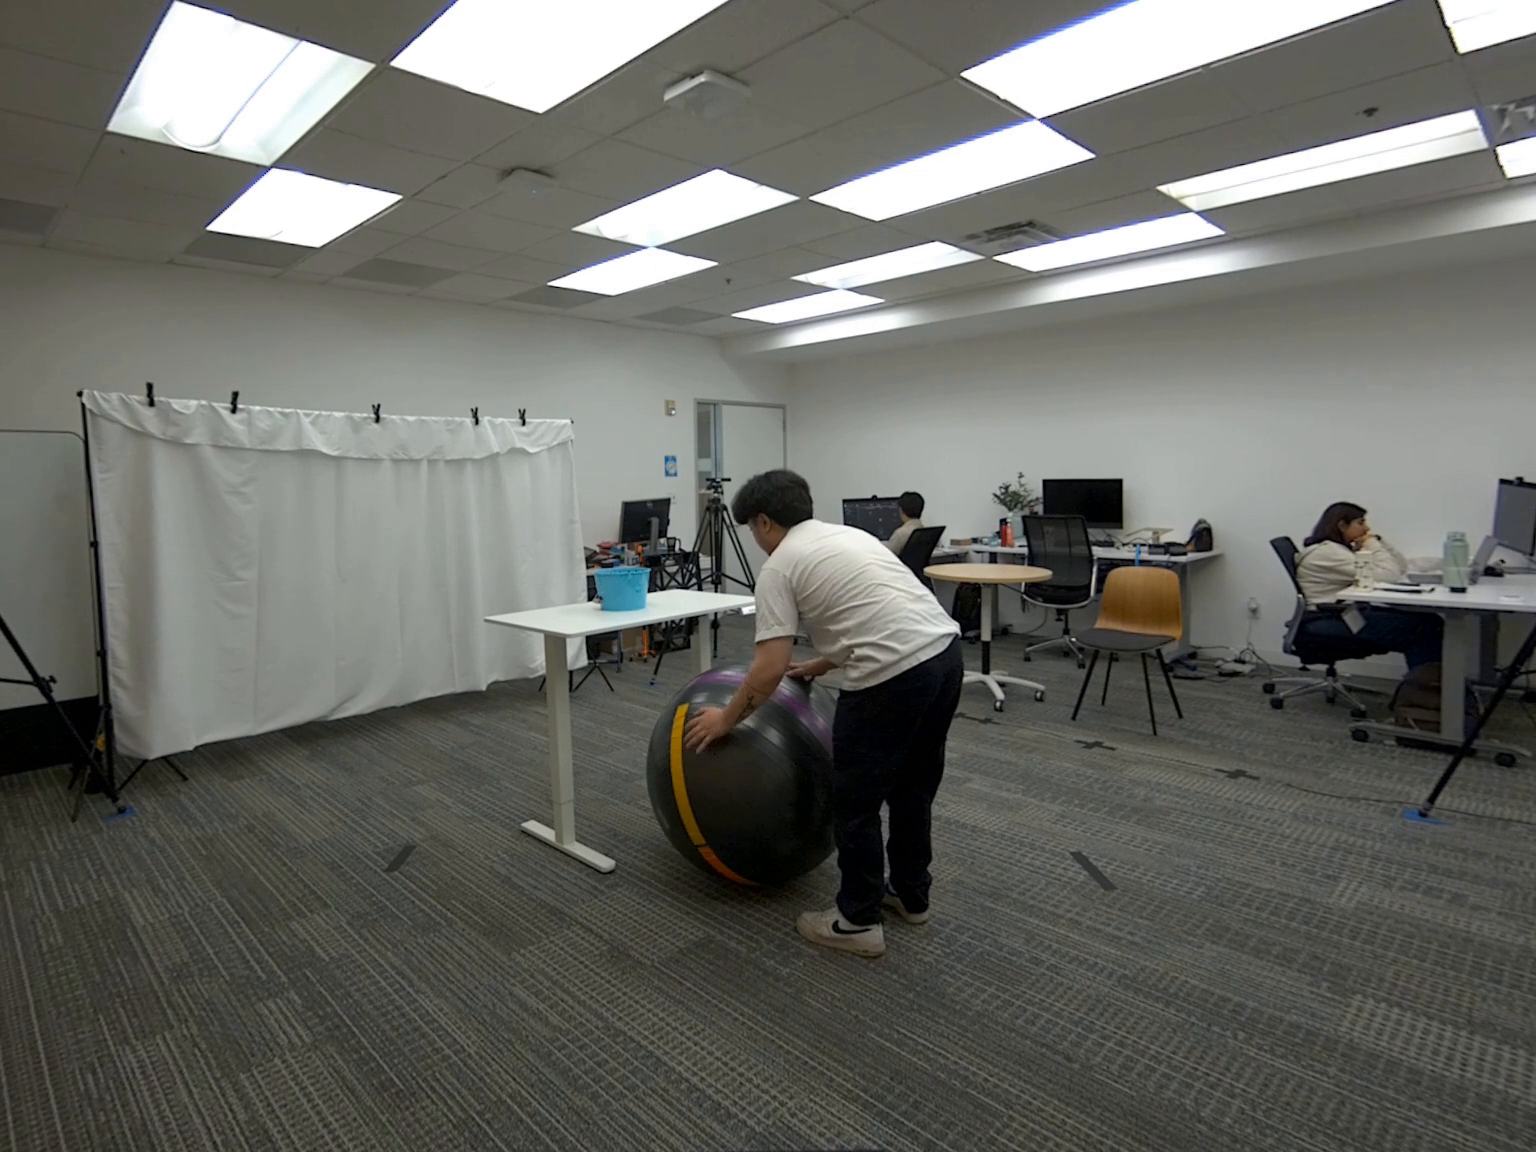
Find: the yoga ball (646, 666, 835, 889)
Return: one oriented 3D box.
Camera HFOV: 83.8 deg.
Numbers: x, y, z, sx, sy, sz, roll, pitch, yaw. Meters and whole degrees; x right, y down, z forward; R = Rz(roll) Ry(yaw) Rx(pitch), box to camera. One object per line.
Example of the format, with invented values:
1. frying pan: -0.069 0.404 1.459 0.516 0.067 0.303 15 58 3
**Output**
1. yoga ball: -0.051 0.693 3.012 0.757 0.755 0.762 -1 5 -2
